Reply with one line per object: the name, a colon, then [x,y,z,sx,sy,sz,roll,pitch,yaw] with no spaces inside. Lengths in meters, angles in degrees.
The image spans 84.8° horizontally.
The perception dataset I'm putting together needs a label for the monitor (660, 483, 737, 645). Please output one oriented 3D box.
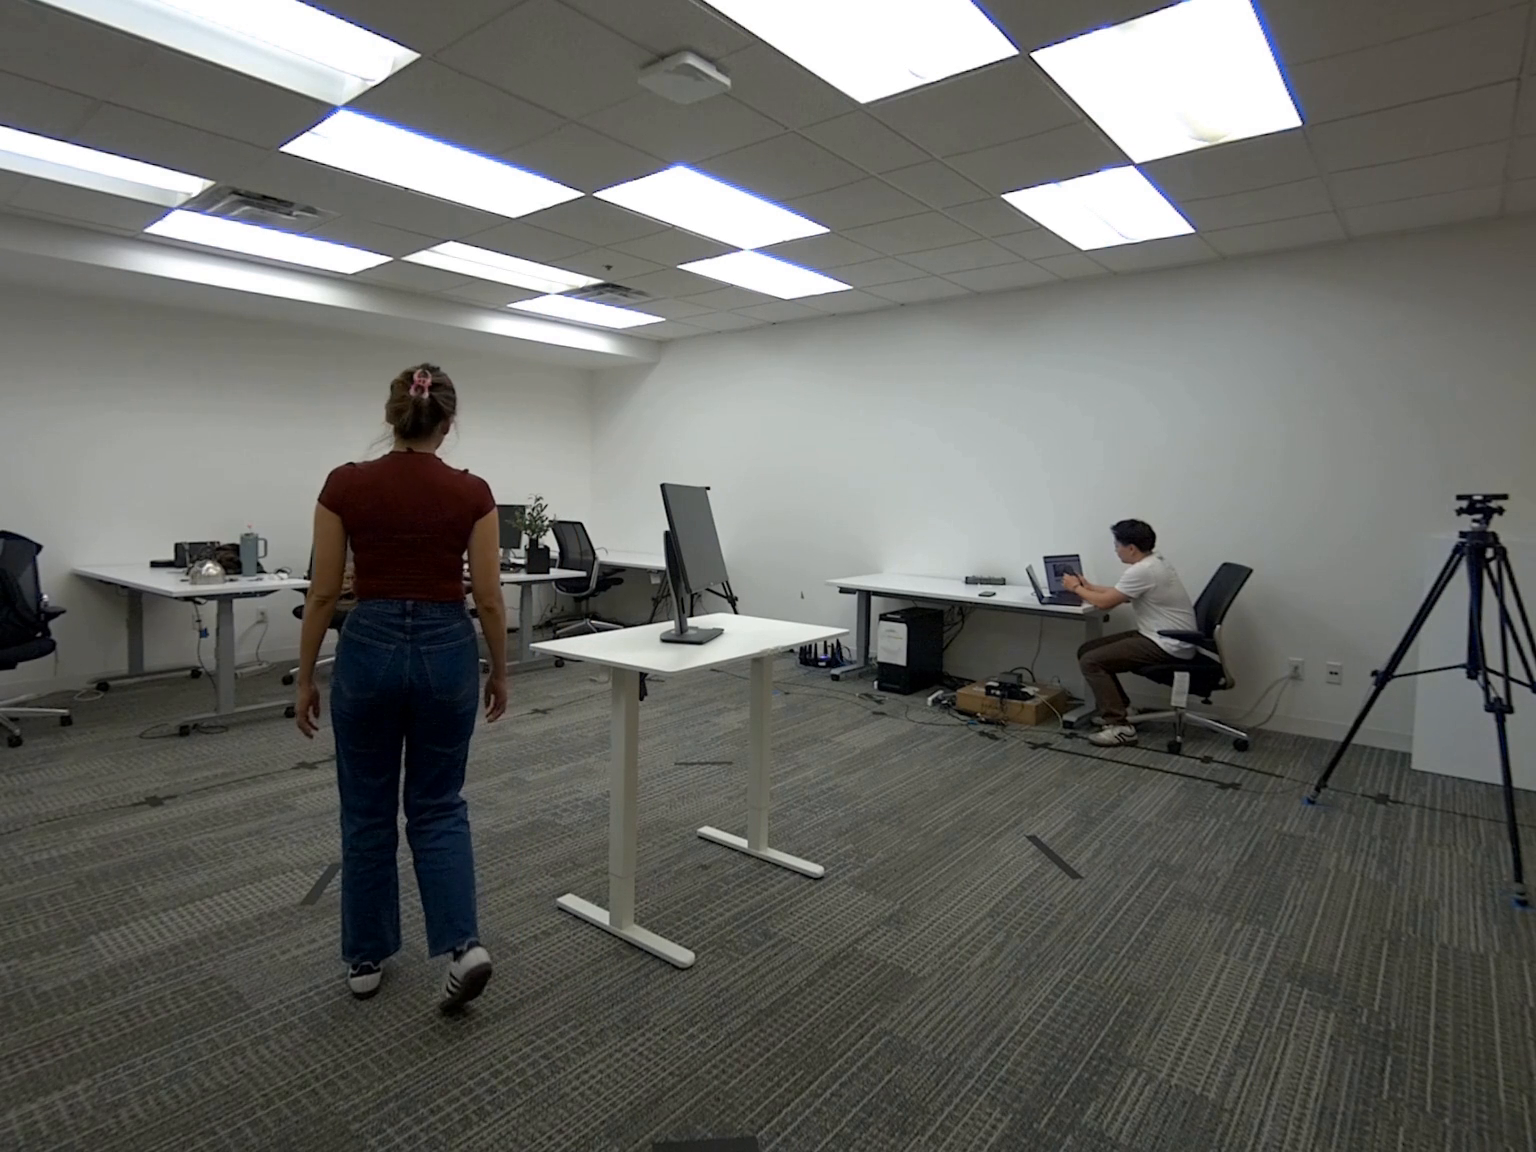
monitor: [-0.276,-0.048,2.885,0.189,0.521,0.535,0,3,8]
